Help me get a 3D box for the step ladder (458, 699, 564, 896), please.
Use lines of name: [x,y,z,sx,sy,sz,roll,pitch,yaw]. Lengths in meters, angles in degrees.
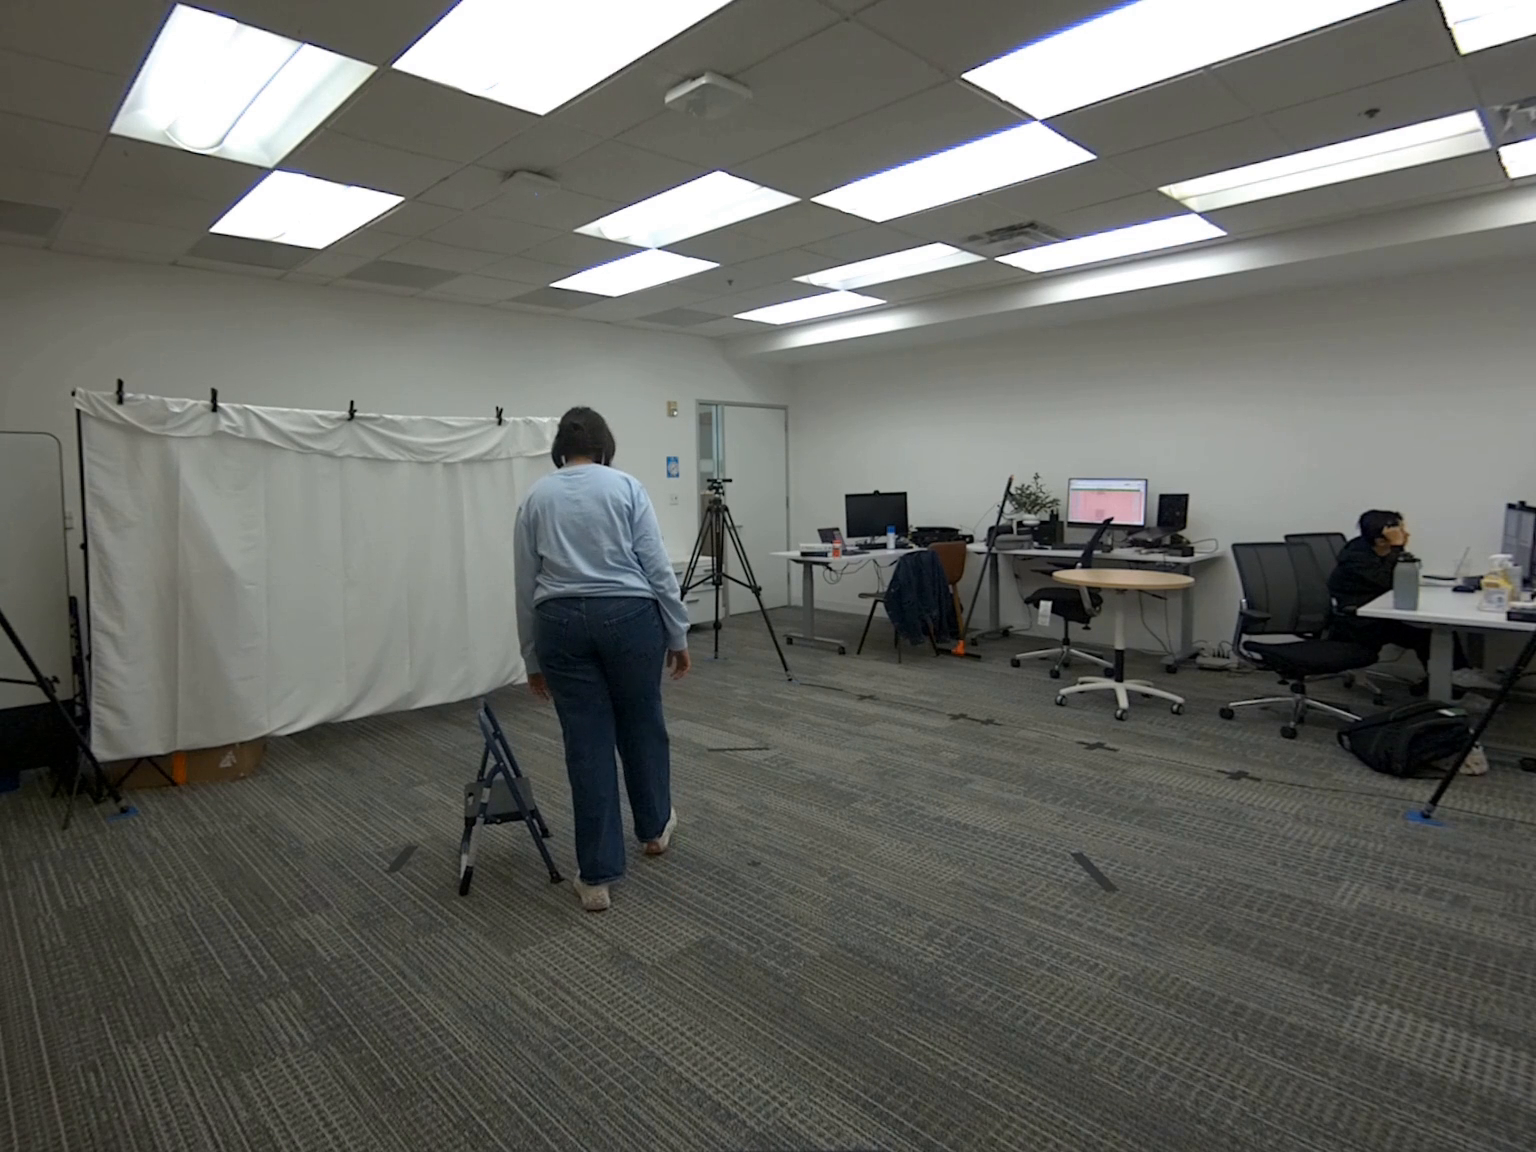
step ladder: [-0.957,0.760,3.131,0.343,0.604,0.439,-3,4,-19]
